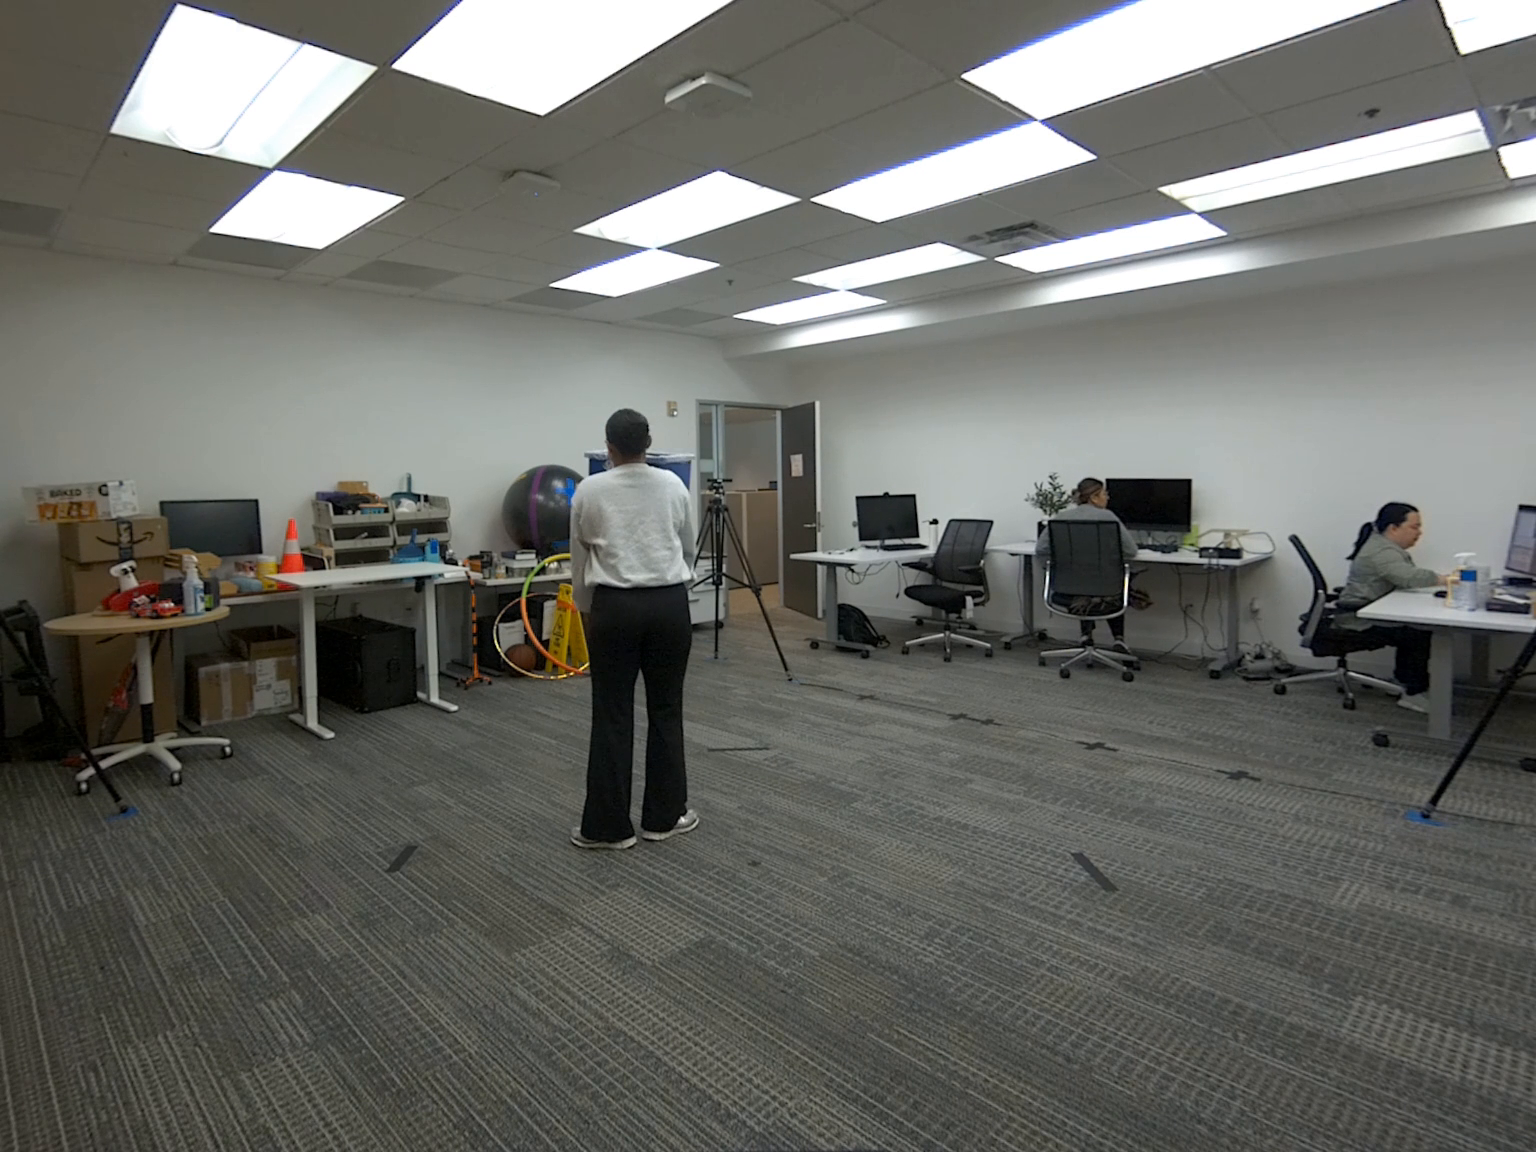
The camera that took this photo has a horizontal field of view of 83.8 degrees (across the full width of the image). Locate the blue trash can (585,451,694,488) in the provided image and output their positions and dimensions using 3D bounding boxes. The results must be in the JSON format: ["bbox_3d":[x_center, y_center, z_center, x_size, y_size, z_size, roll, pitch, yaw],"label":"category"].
[{"bbox_3d":[-0.547,-0.171,3.646,0.381,0.708,0.374,5,9,18],"label":"blue trash can"}]
